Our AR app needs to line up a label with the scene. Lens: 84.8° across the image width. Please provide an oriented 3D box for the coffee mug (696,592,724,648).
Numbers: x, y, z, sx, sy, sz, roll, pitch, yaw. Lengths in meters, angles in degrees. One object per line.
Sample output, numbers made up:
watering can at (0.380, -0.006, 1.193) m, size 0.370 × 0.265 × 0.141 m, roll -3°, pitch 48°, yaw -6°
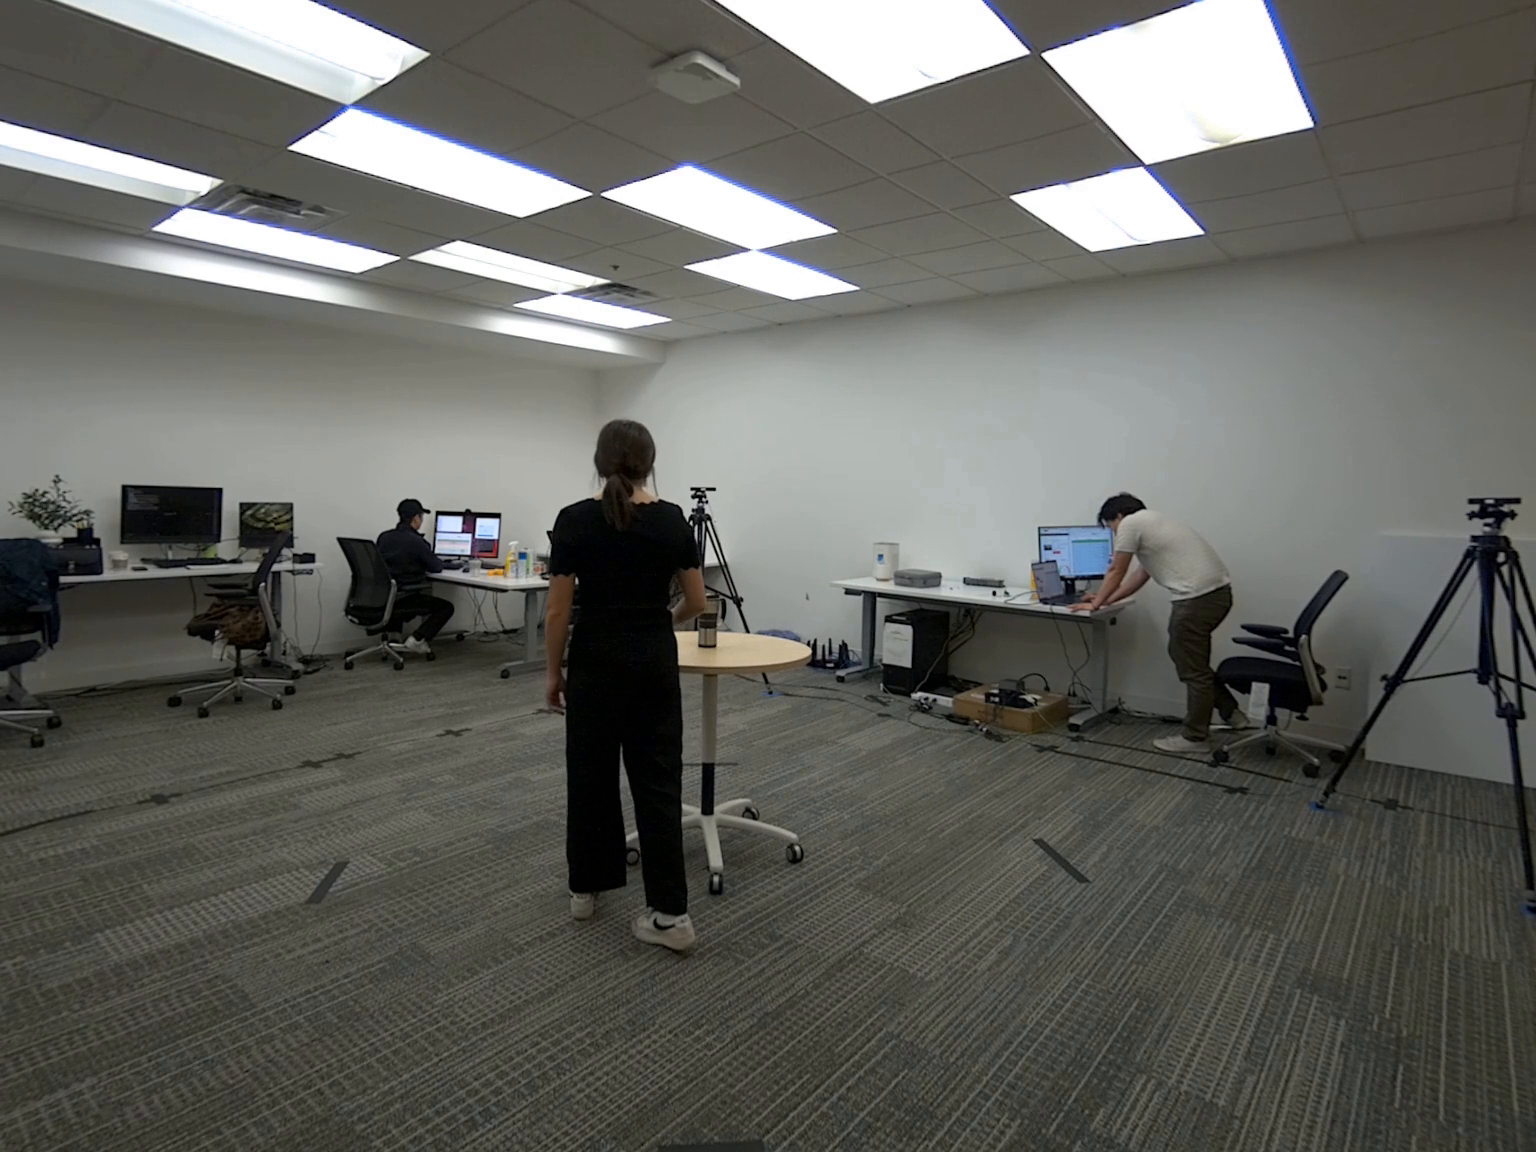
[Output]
coffee mug at (-0.223, 0.170, 3.243) m, size 0.124 × 0.203 × 0.086 m, roll -2°, pitch -3°, yaw 22°
